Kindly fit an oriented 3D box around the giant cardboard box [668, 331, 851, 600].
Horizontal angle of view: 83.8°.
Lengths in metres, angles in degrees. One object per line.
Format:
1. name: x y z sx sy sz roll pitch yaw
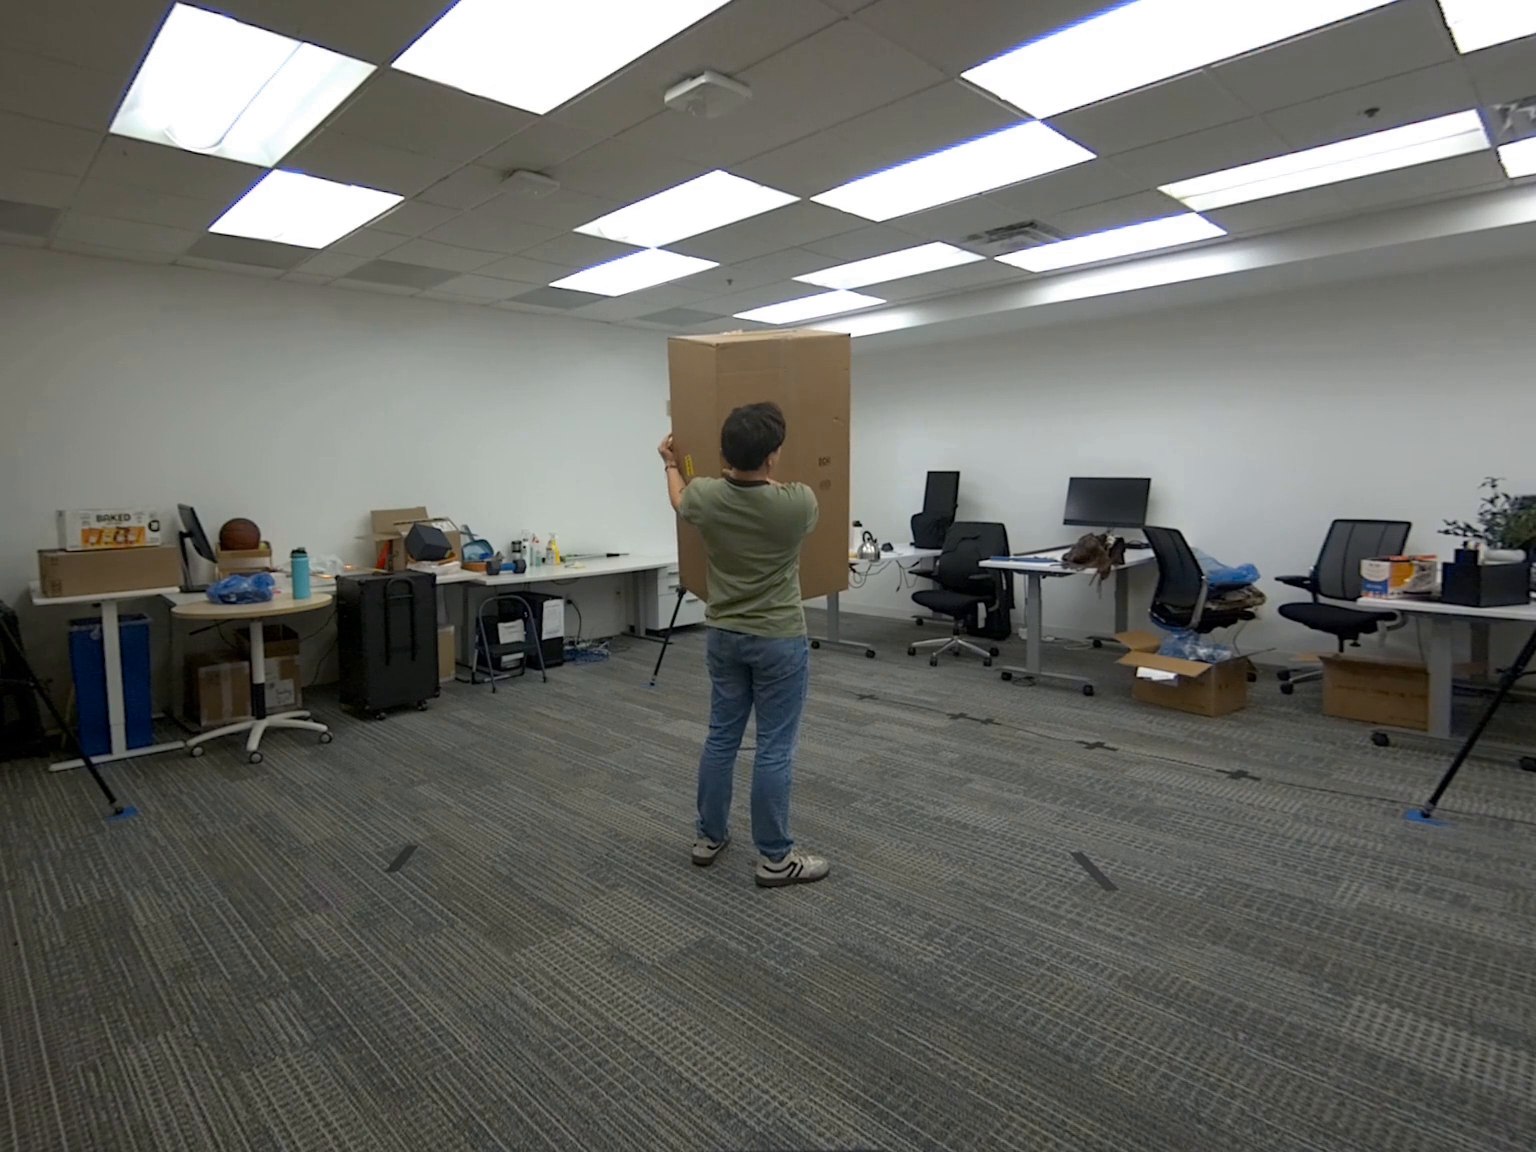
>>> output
1. giant cardboard box: -0.027 -0.431 3.396 0.566 1.009 0.441 -11 20 -27
